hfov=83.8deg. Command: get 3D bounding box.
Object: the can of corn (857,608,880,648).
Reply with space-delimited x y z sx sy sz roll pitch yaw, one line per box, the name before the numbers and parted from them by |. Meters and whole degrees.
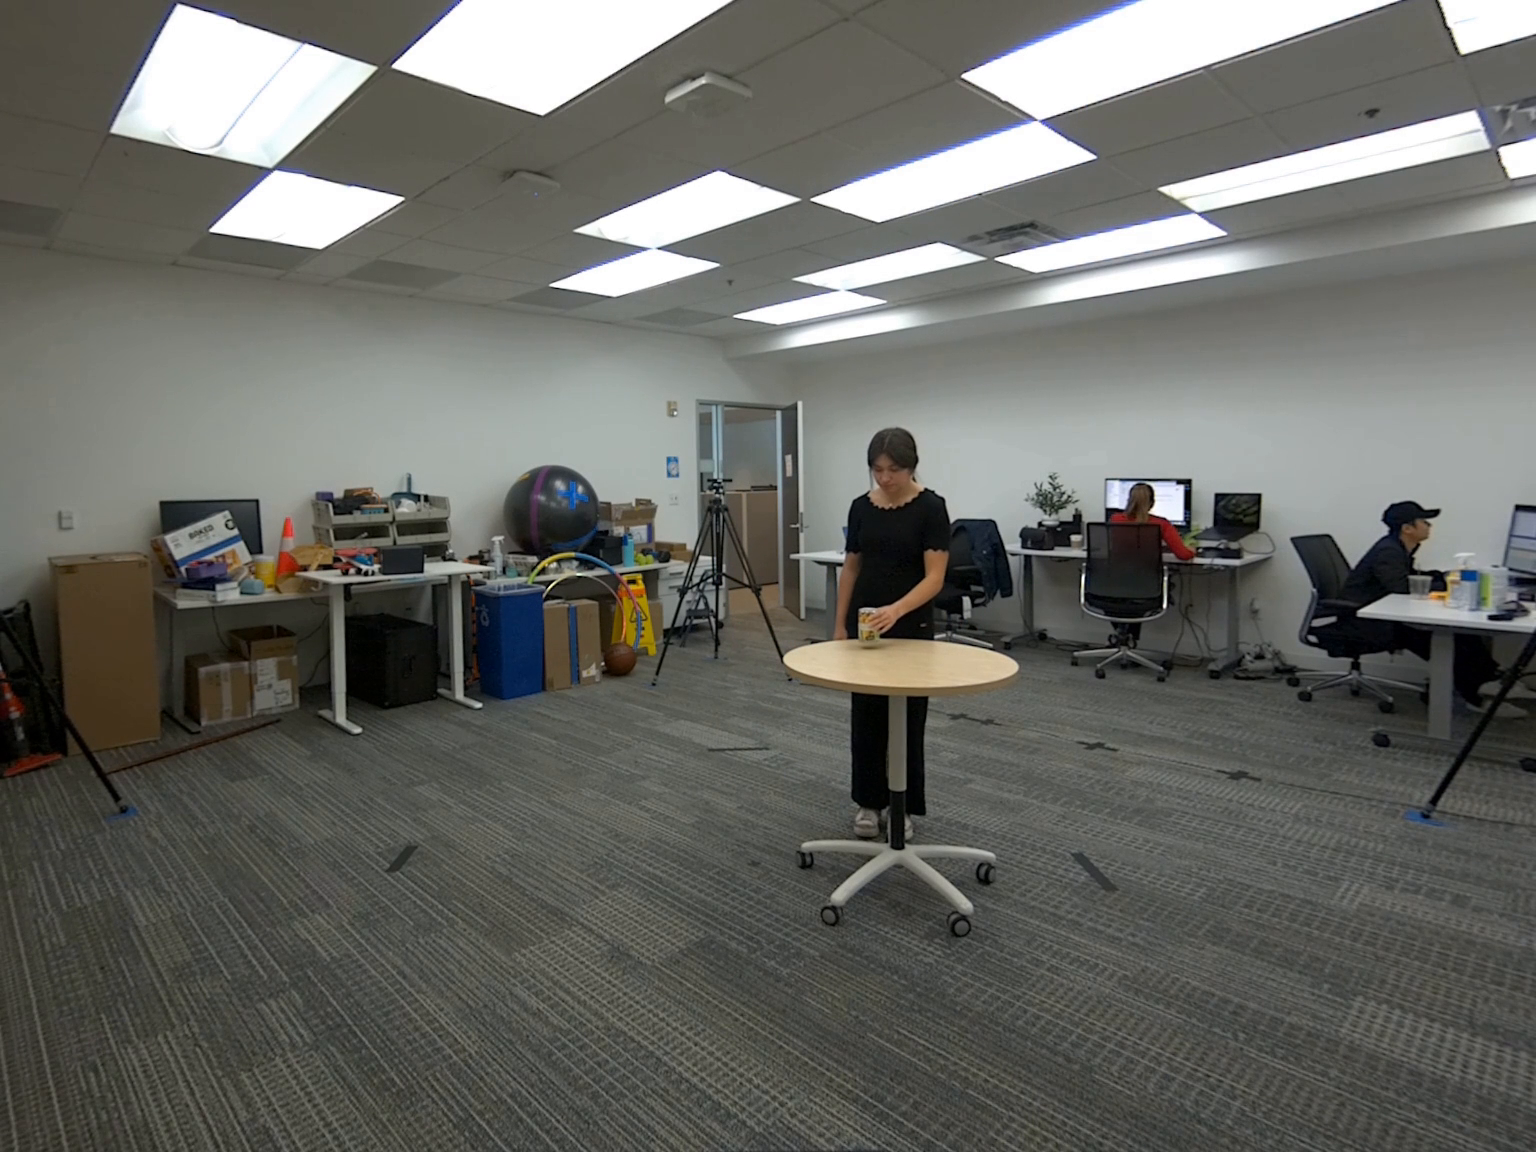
can of corn | 0.355 0.178 3.052 0.074 0.111 0.074 -3 4 -1
